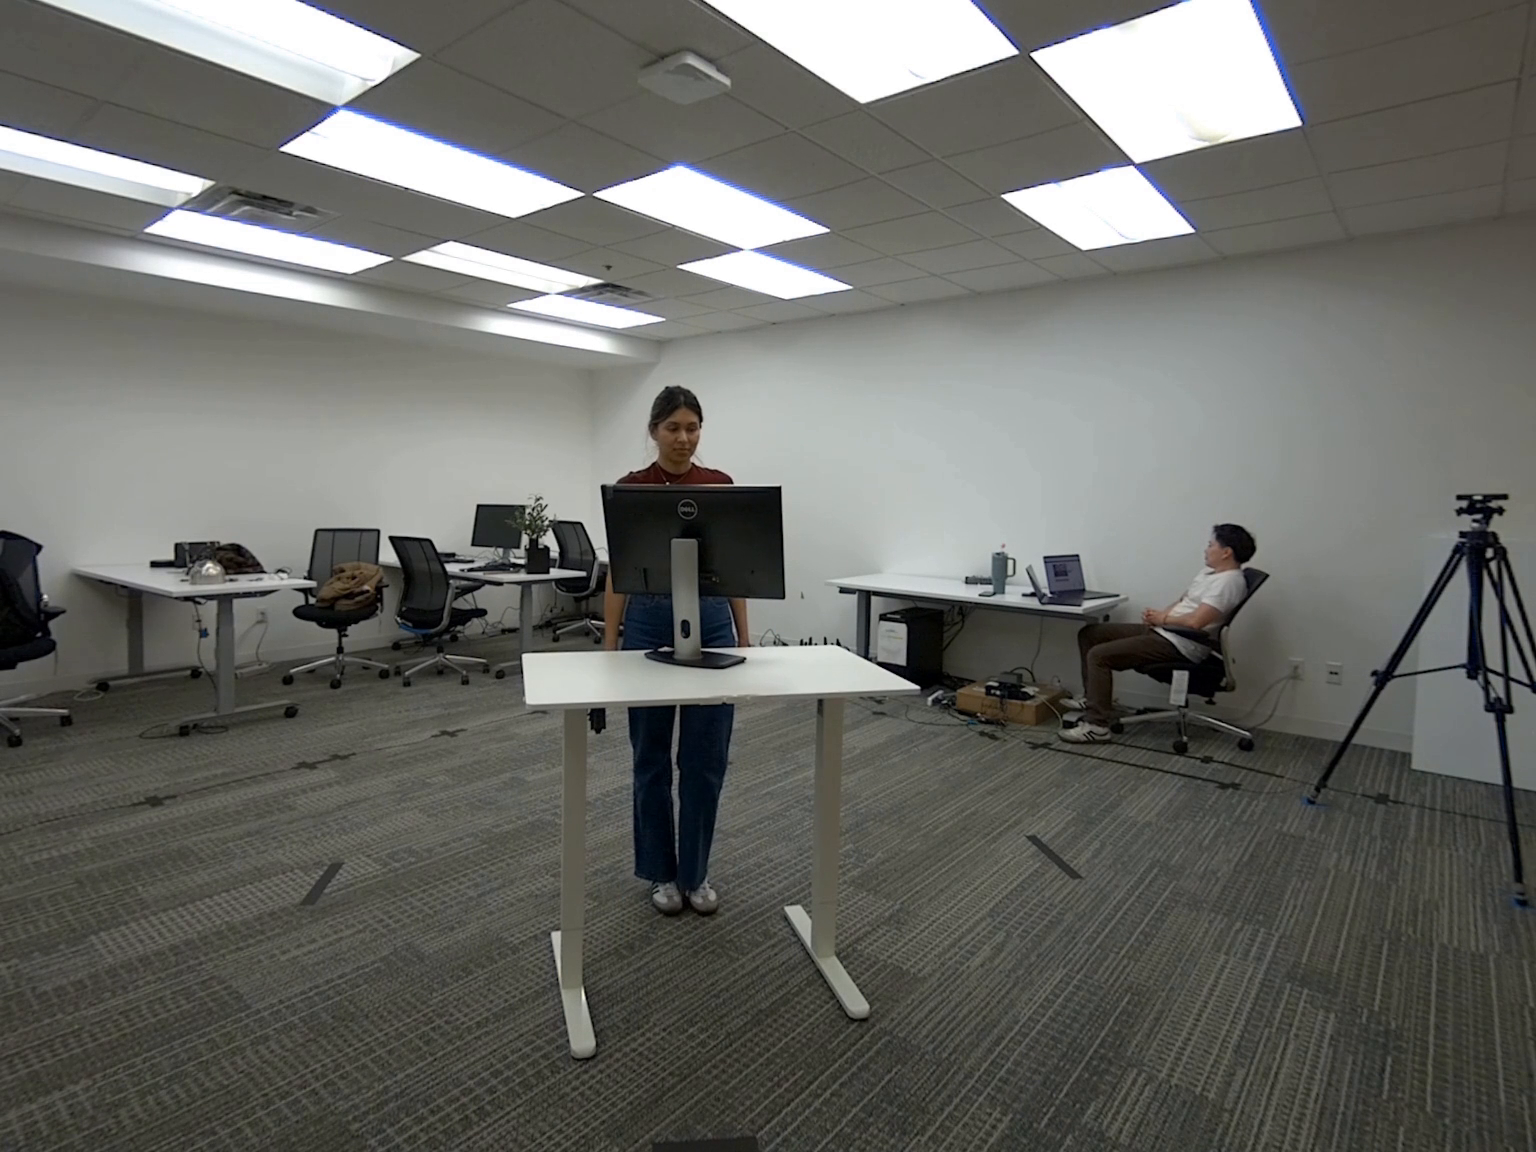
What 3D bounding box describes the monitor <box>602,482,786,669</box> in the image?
[{"bbox_3d":[-0.238,-0.006,2.479,0.545,0.519,0.186,1,7,10],"label":"monitor"}]
